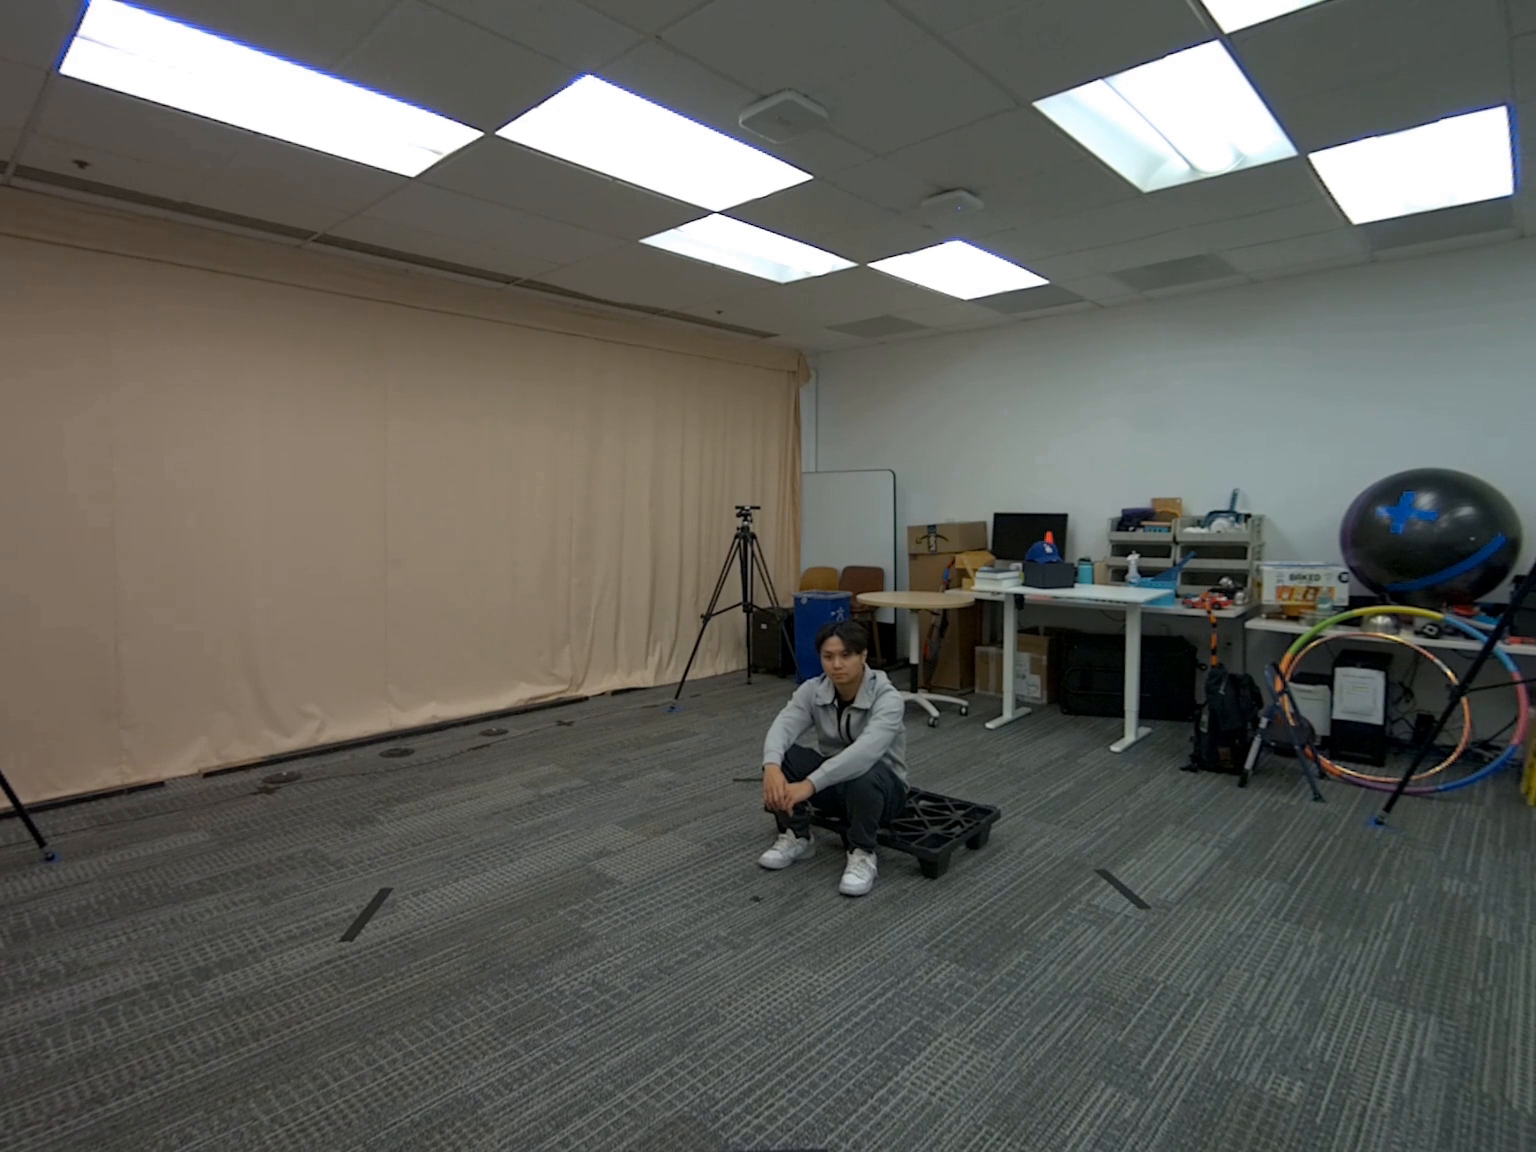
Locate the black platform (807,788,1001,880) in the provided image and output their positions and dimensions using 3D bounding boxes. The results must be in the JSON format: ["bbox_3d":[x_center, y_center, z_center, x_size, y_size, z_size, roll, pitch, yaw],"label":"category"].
[{"bbox_3d":[0.475,1.030,3.531,0.832,0.143,0.587,4,6,39],"label":"black platform"}]
